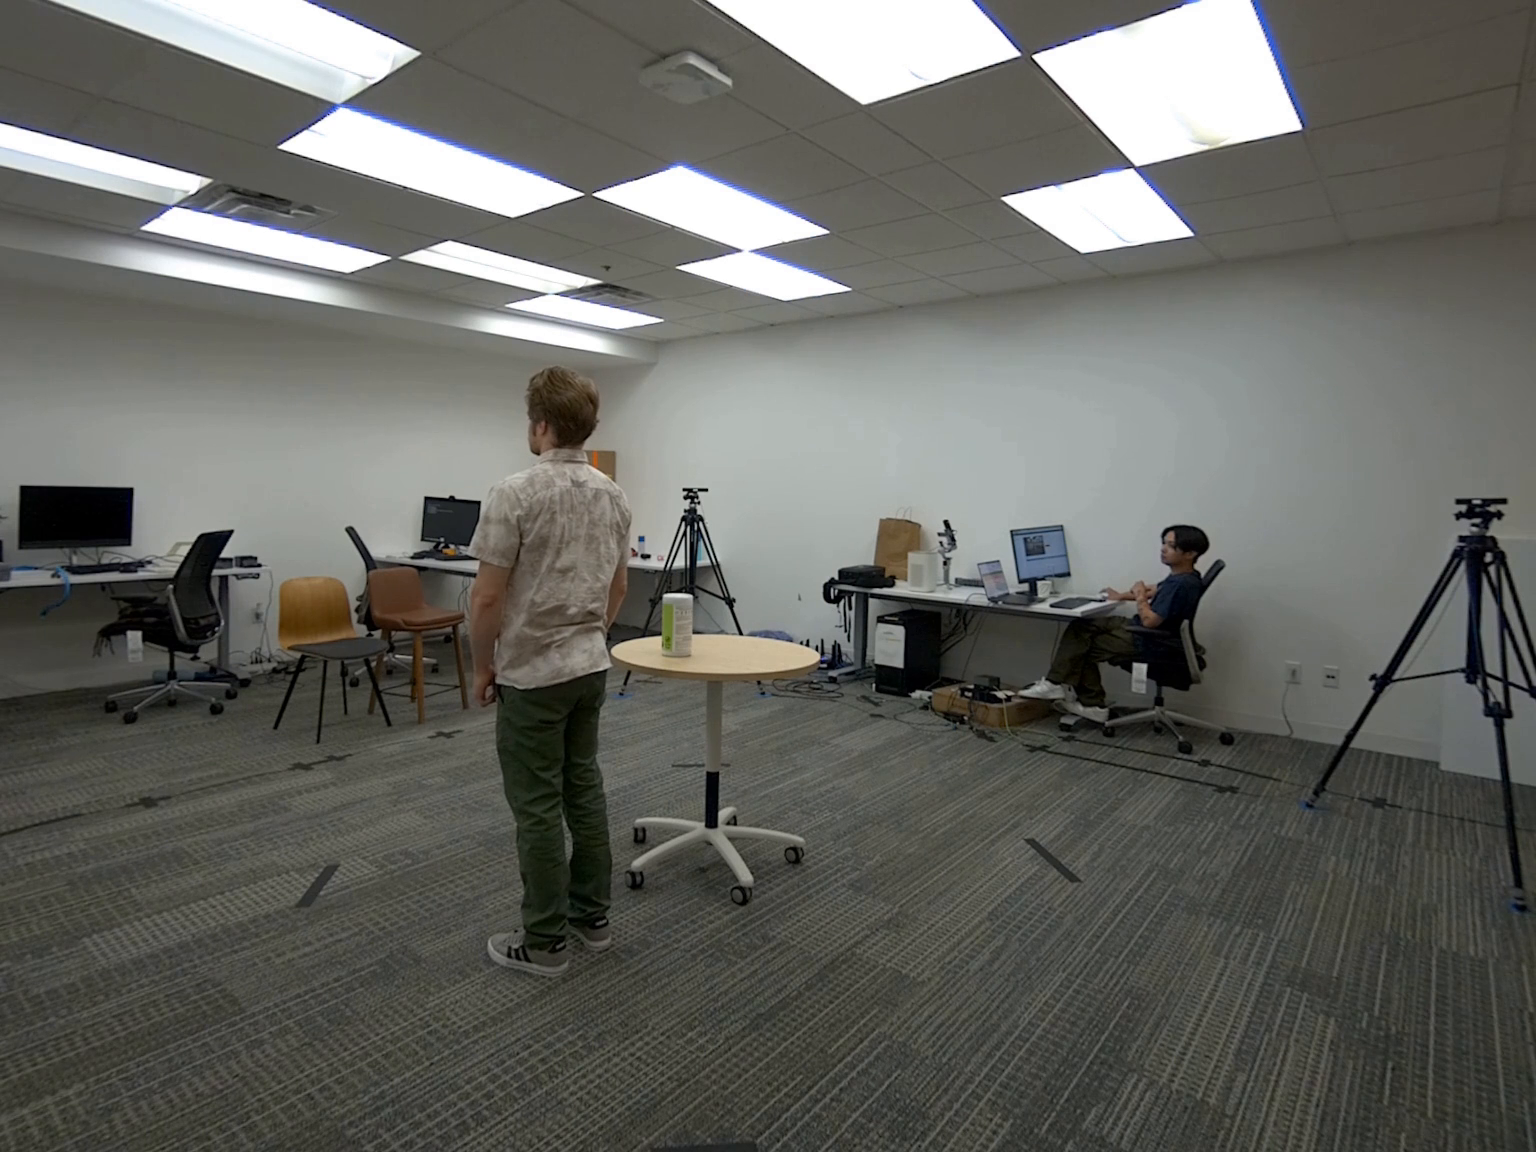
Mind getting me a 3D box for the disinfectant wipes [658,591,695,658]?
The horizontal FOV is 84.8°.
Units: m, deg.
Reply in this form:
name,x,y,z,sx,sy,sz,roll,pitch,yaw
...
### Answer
name,x,y,z,sx,sy,sz,roll,pitch,yaw
disinfectant wipes,-0.331,0.171,3.036,0.118,0.217,0.118,-3,2,-2
